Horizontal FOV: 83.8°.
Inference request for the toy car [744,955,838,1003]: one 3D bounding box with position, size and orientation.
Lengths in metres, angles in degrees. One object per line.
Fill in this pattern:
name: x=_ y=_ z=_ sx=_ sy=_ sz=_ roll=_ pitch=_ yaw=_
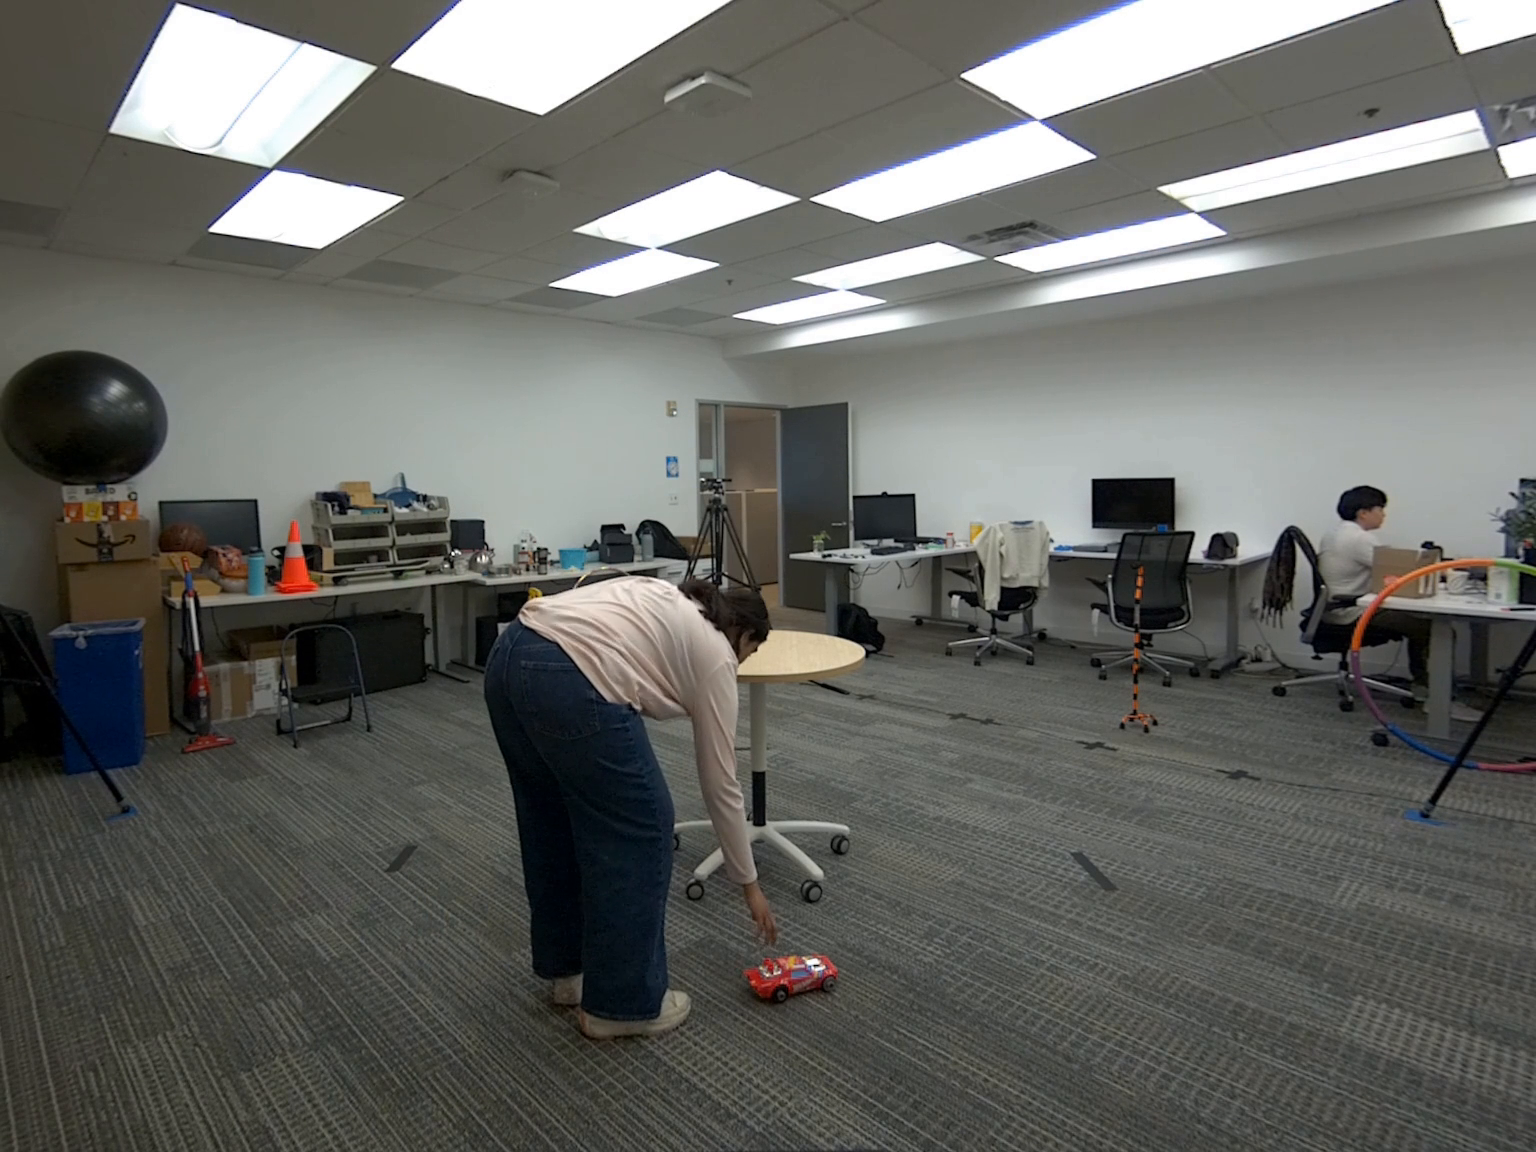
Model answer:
toy car: x=0.066 y=1.103 z=2.339 sx=0.249 sy=0.083 sz=0.133 roll=7 pitch=2 yaw=-20
